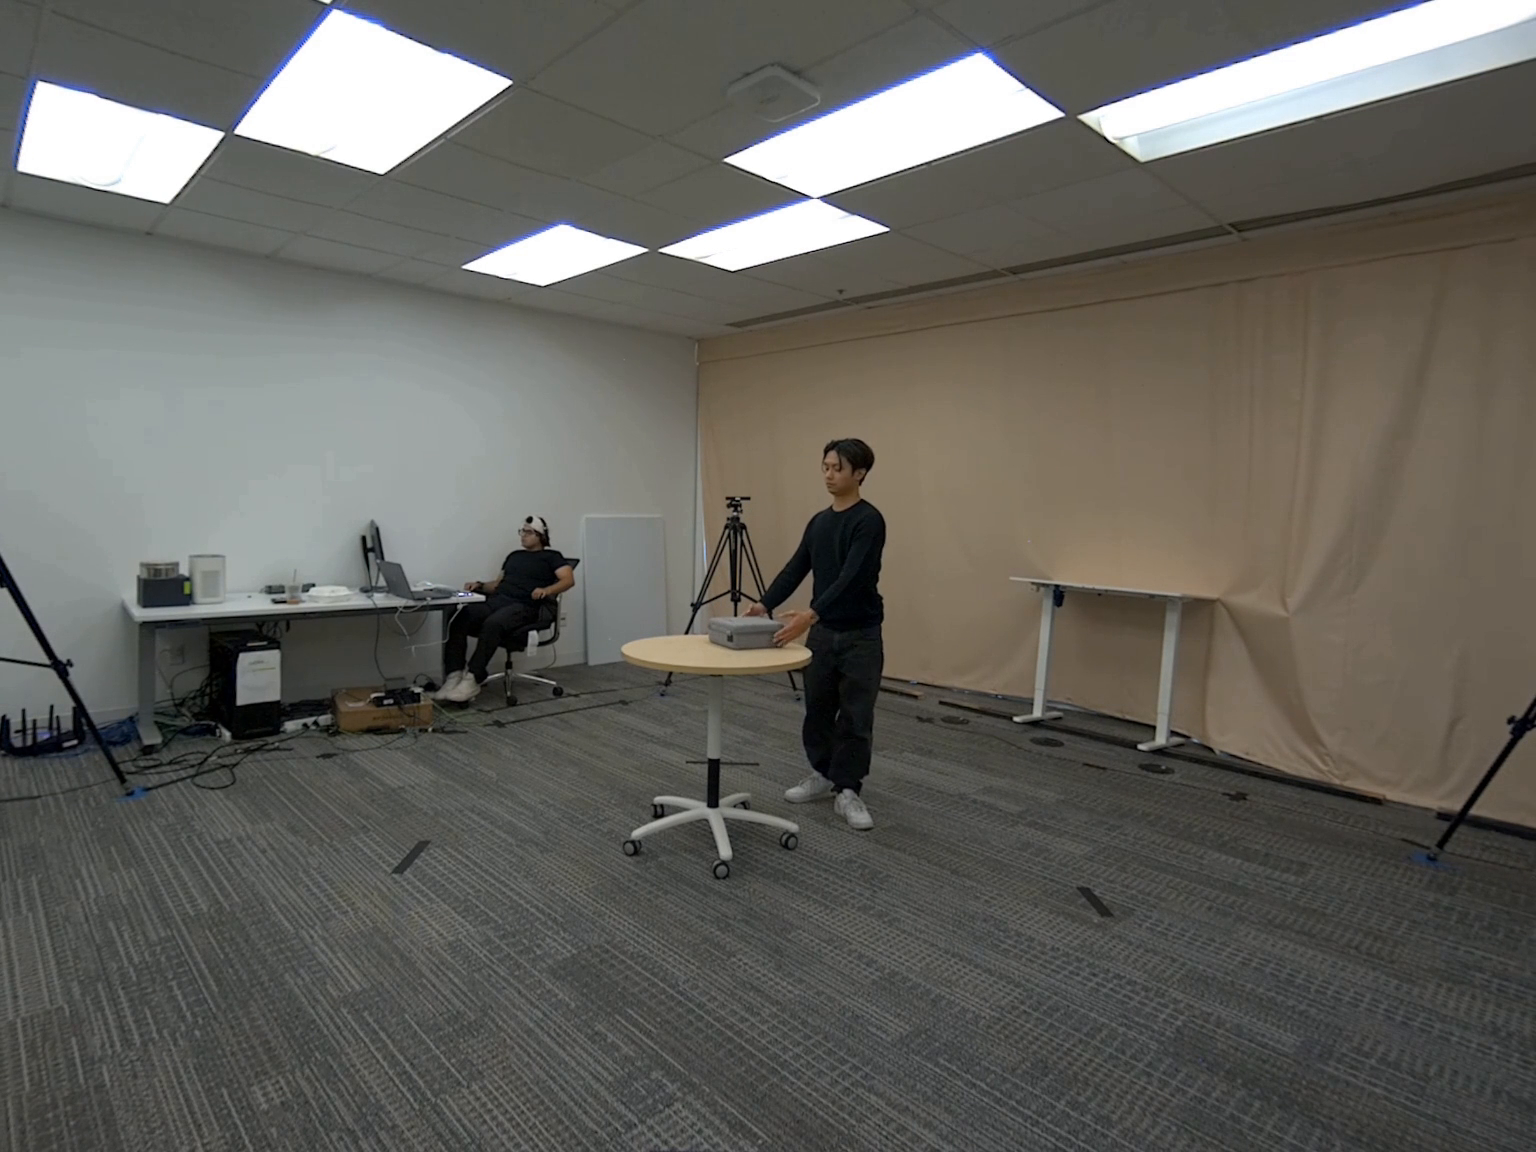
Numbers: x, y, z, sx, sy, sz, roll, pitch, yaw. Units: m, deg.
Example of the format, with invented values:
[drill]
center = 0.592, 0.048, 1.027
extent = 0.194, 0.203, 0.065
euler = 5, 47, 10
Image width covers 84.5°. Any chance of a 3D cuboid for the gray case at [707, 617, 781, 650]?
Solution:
[gray case]
center = -0.109, 0.234, 3.534
extent = 0.255, 0.104, 0.263
euler = -1, 4, -32
